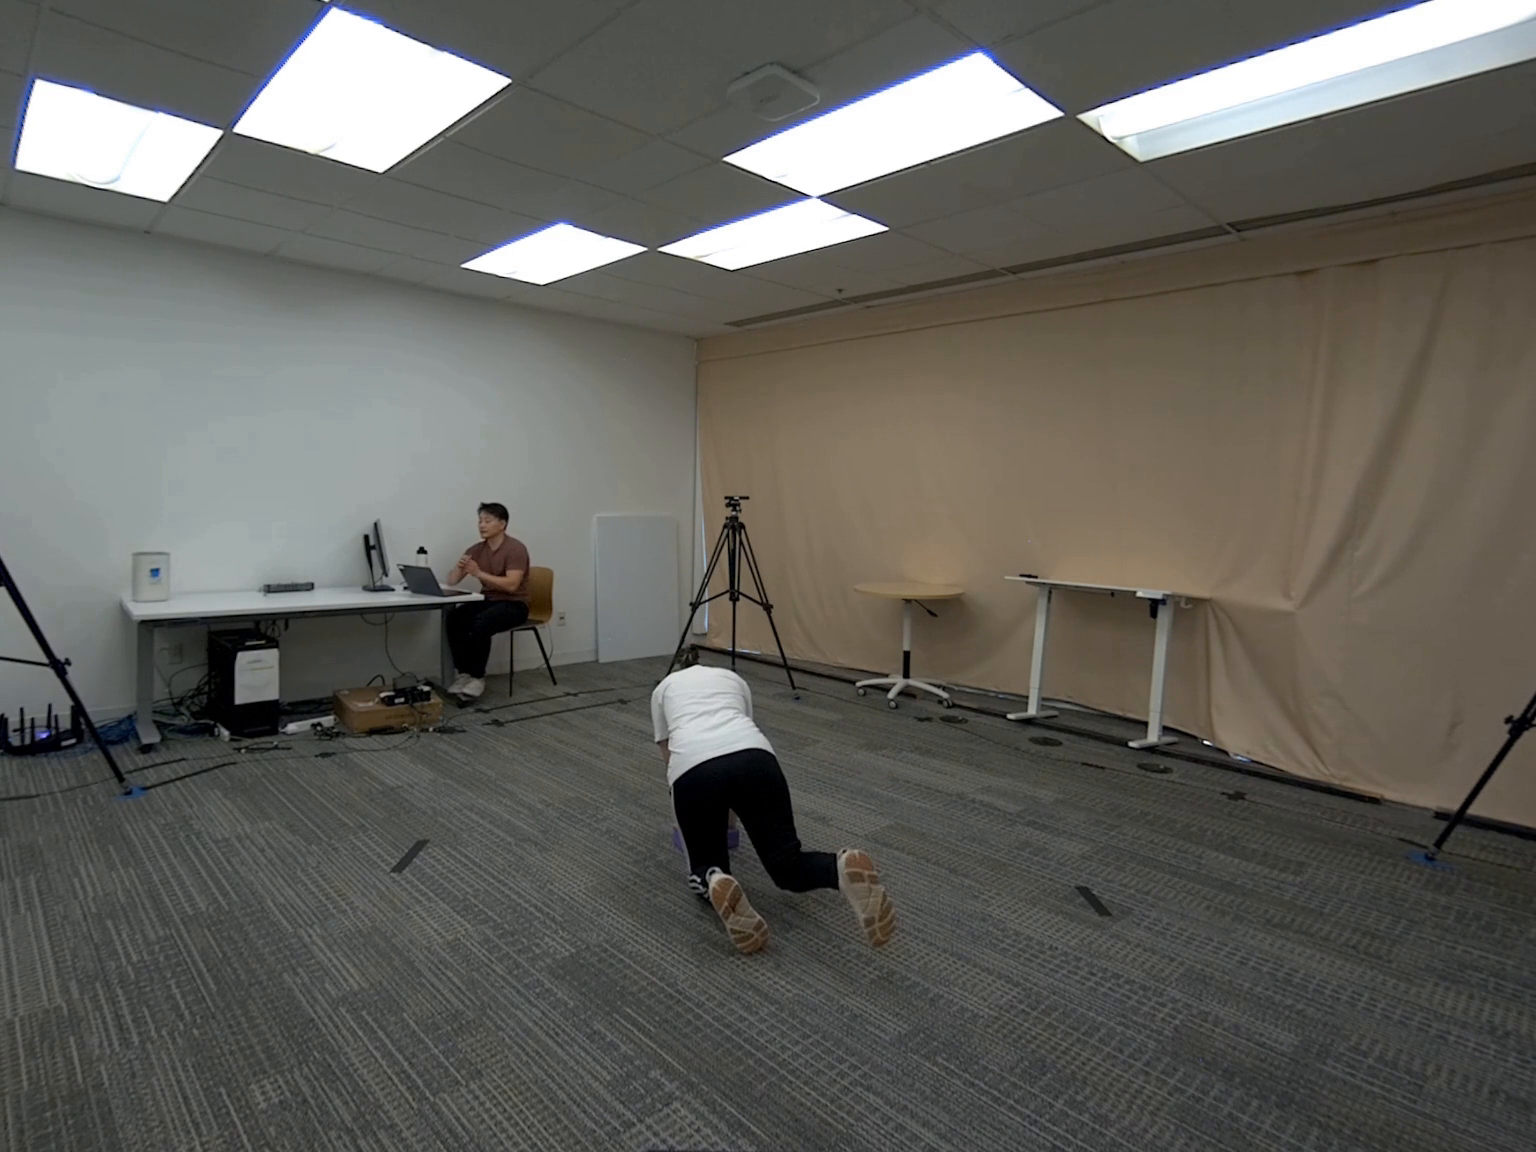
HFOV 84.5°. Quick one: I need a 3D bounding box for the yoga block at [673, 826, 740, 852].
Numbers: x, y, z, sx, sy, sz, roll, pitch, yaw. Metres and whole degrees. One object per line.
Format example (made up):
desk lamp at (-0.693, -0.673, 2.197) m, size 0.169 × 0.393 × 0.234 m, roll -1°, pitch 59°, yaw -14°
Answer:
yoga block at (-0.255, 1.045, 3.369) m, size 0.225 × 0.076 × 0.152 m, roll 0°, pitch 4°, yaw -30°
